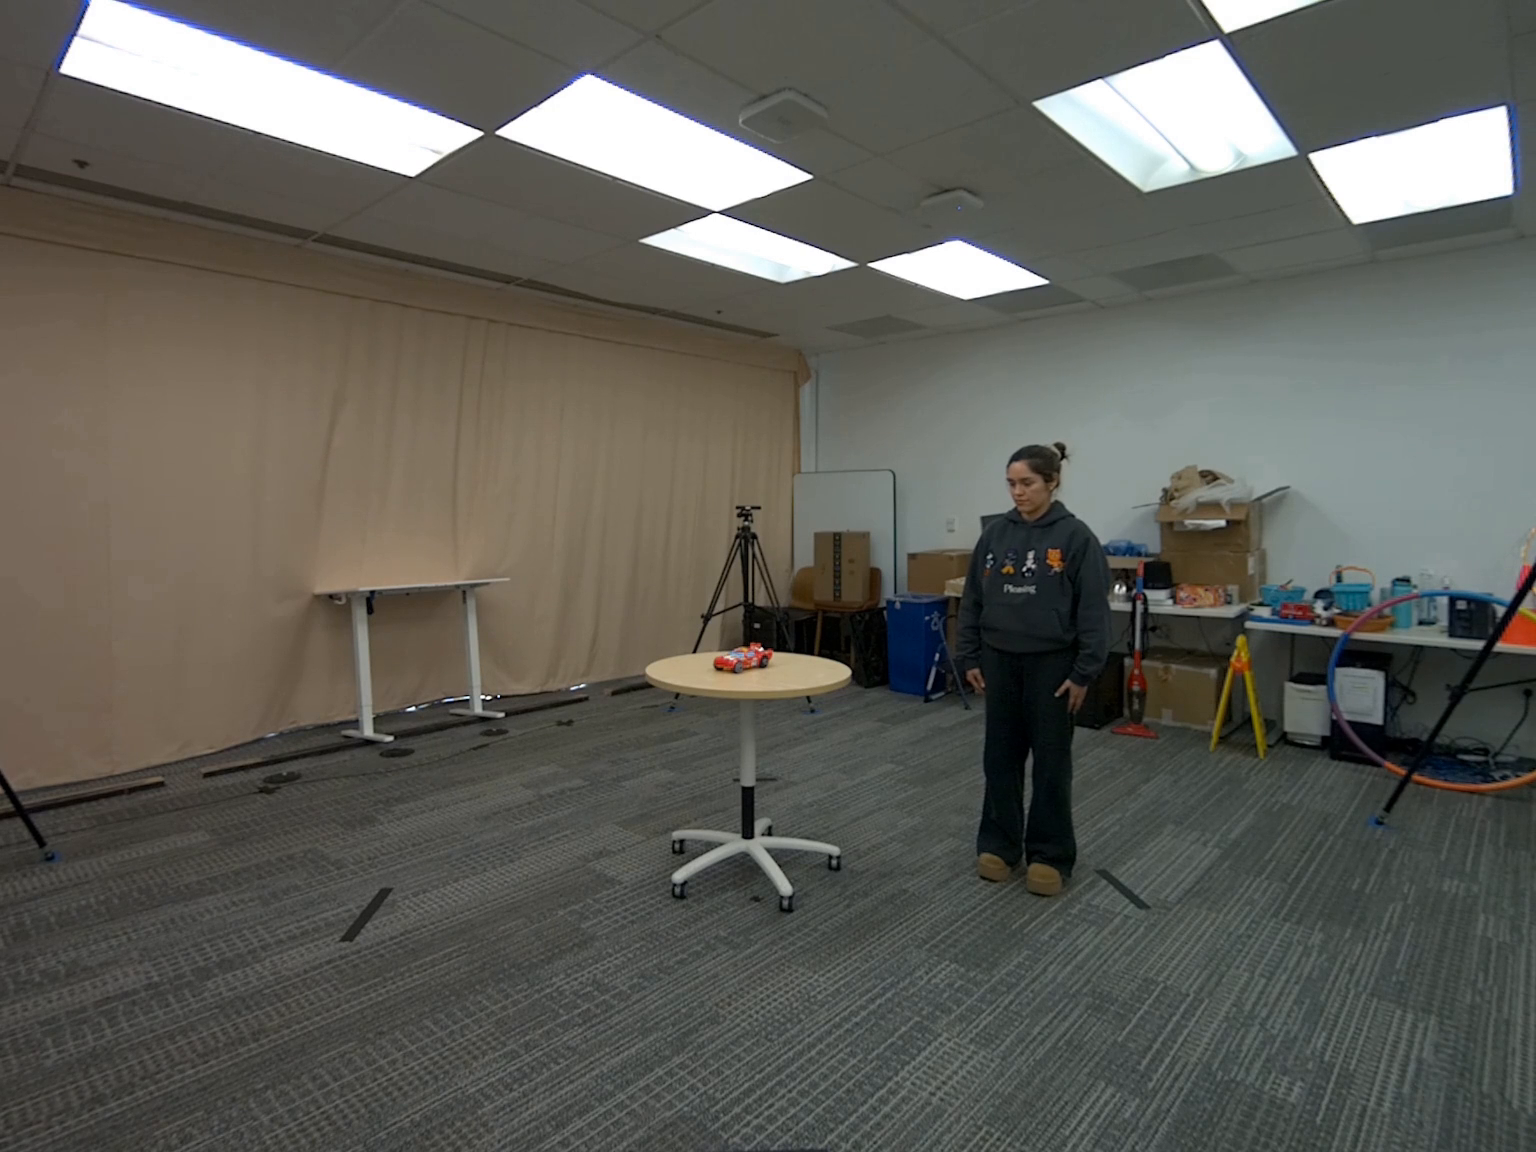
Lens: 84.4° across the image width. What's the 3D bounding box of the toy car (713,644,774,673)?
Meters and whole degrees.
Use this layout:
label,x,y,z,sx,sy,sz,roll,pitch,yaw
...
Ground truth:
label,x,y,z,sx,sy,sz,roll,pitch,yaw
toy car,-0.068,0.316,3.168,0.134,0.082,0.248,3,17,42
